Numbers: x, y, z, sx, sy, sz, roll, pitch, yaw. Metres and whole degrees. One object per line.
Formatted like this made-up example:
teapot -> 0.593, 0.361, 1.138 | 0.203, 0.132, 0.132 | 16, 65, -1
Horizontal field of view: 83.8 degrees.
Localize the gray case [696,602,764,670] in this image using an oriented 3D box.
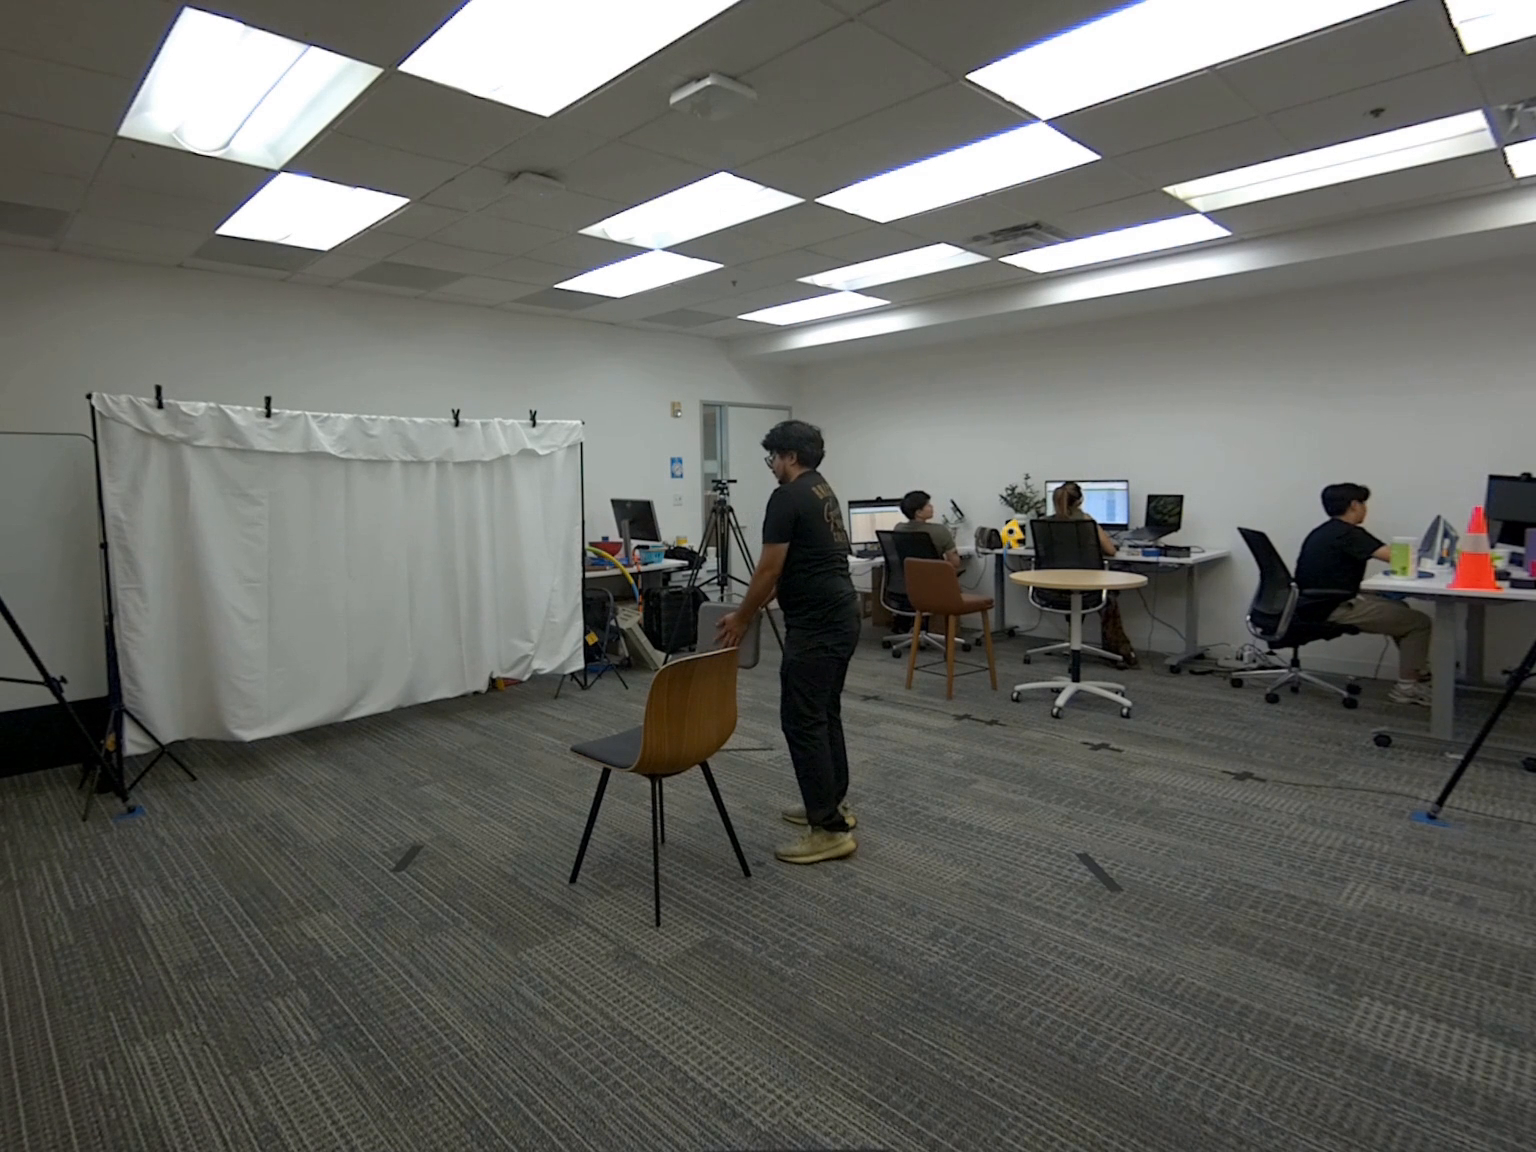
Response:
gray case -> -0.159, 0.237, 3.490 | 0.260, 0.261, 0.103 | 3, -2, 11
